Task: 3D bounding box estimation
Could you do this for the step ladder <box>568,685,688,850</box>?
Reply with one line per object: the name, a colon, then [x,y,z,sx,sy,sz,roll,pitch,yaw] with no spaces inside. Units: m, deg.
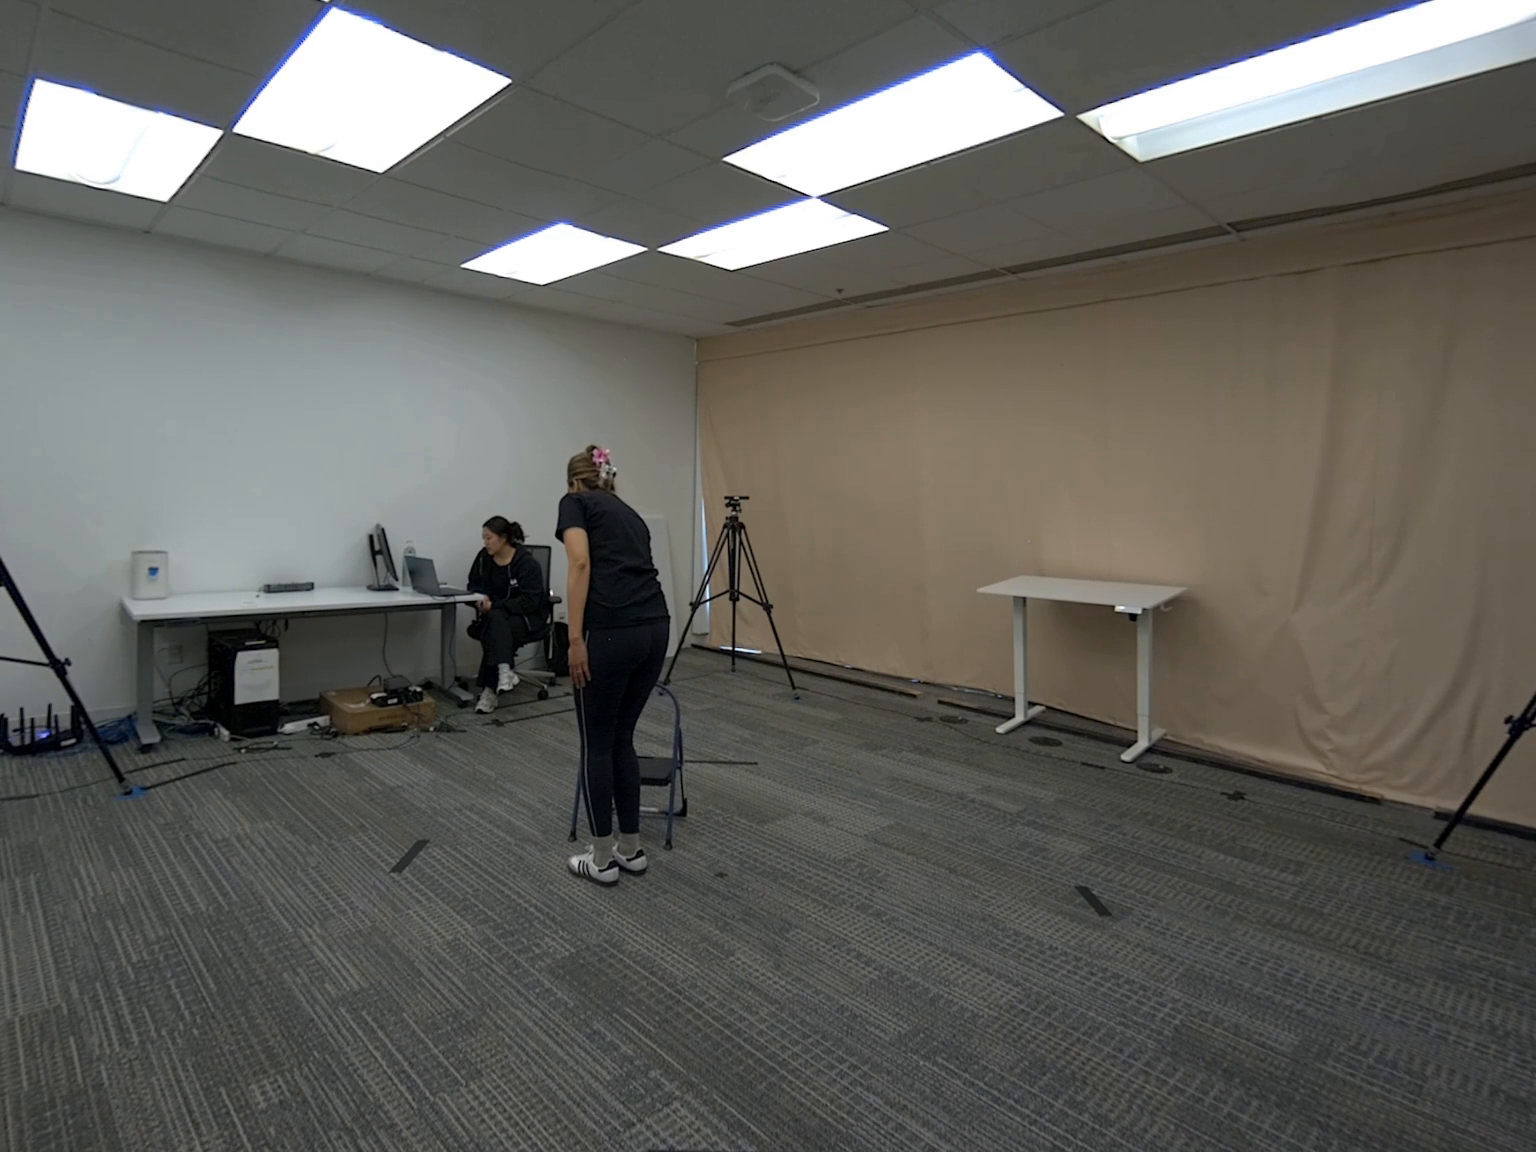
step ladder: [-0.574,0.756,3.491,0.433,0.603,0.349,1,6,7]
